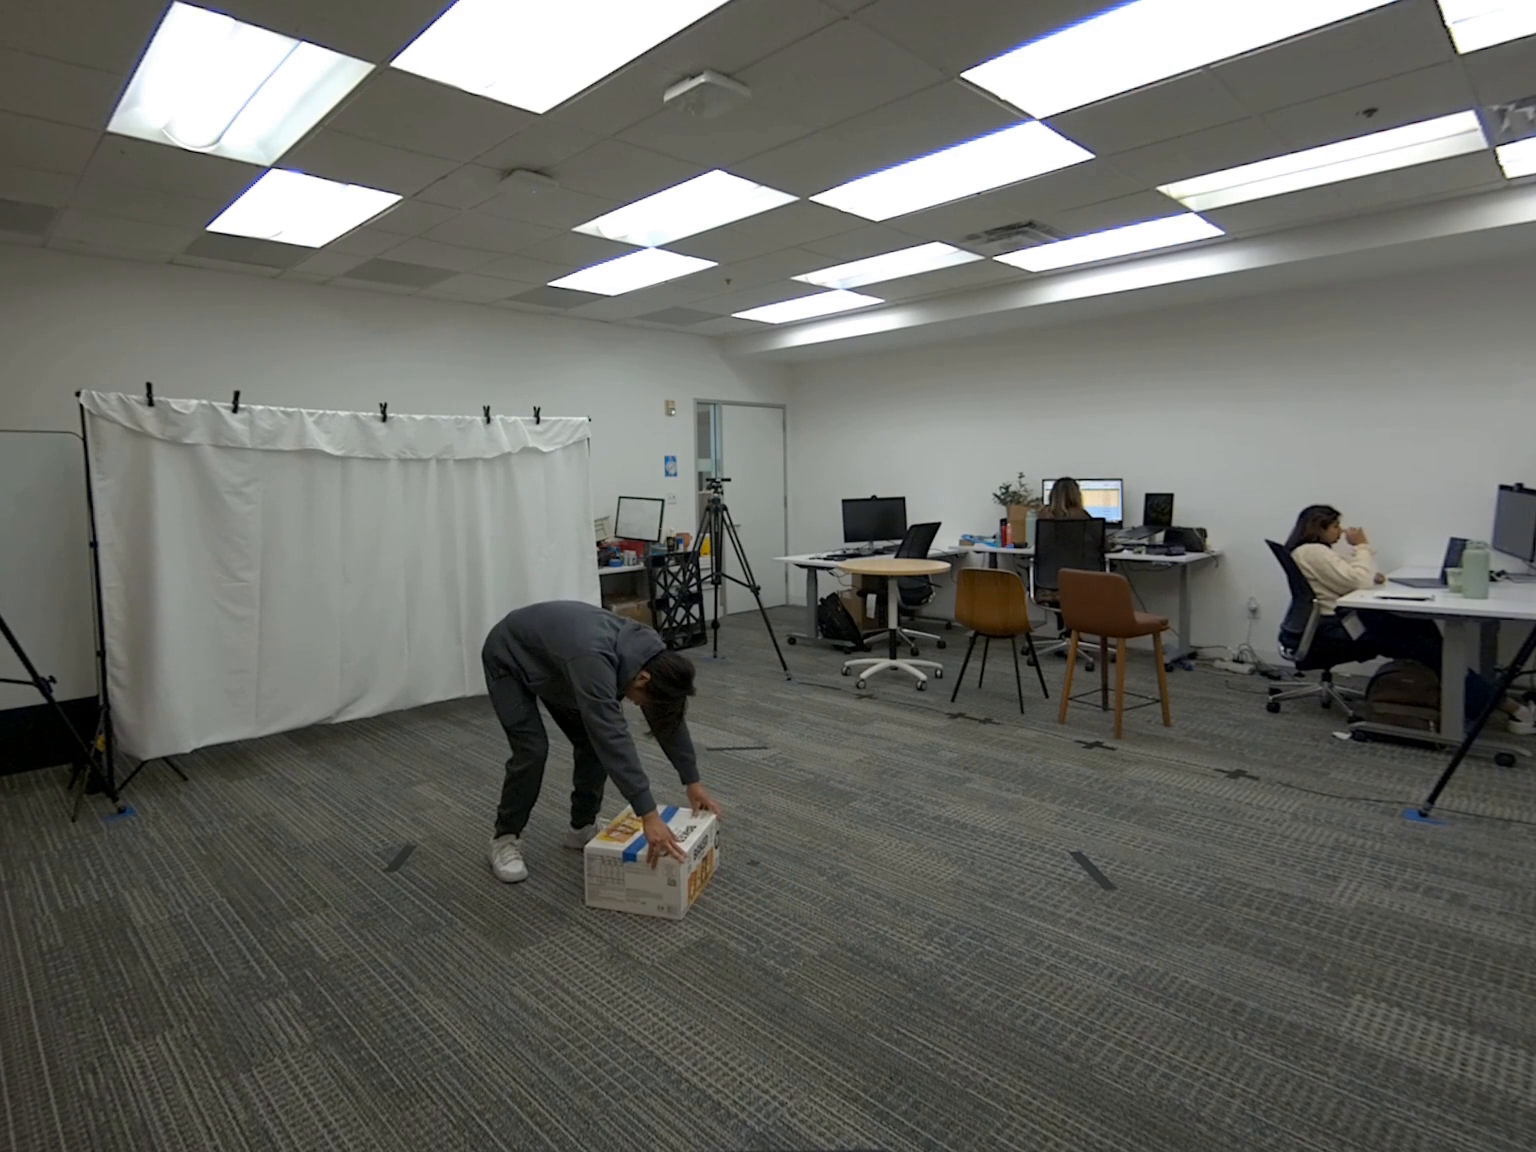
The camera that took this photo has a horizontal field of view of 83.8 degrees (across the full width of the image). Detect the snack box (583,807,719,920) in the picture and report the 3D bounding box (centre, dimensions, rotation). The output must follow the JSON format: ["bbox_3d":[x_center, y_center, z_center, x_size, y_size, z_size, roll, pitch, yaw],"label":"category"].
[{"bbox_3d":[-0.386,0.970,2.938,0.346,0.205,0.400,1,6,16],"label":"snack box"}]
